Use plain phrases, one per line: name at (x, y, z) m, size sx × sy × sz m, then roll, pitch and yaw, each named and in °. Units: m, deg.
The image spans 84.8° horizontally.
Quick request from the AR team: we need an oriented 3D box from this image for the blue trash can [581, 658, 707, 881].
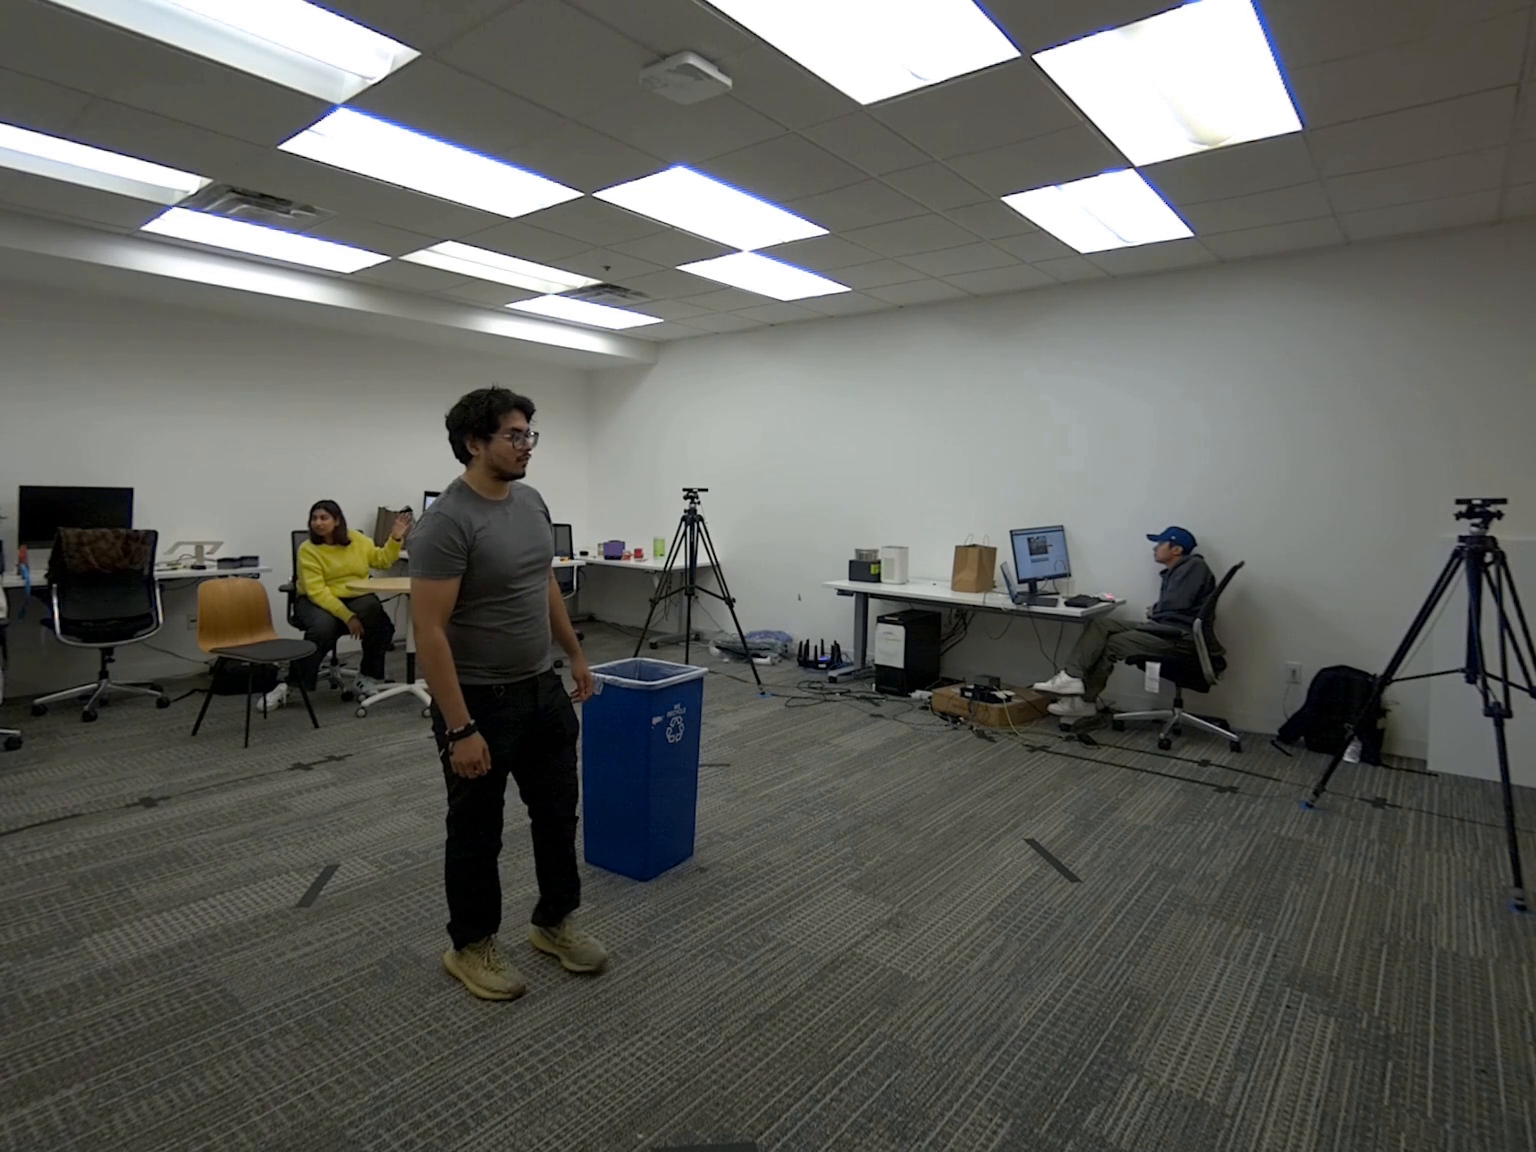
blue trash can at (-0.481, 0.700, 3.190) m, size 0.390 × 0.712 × 0.364 m, roll 3°, pitch 4°, yaw 32°
